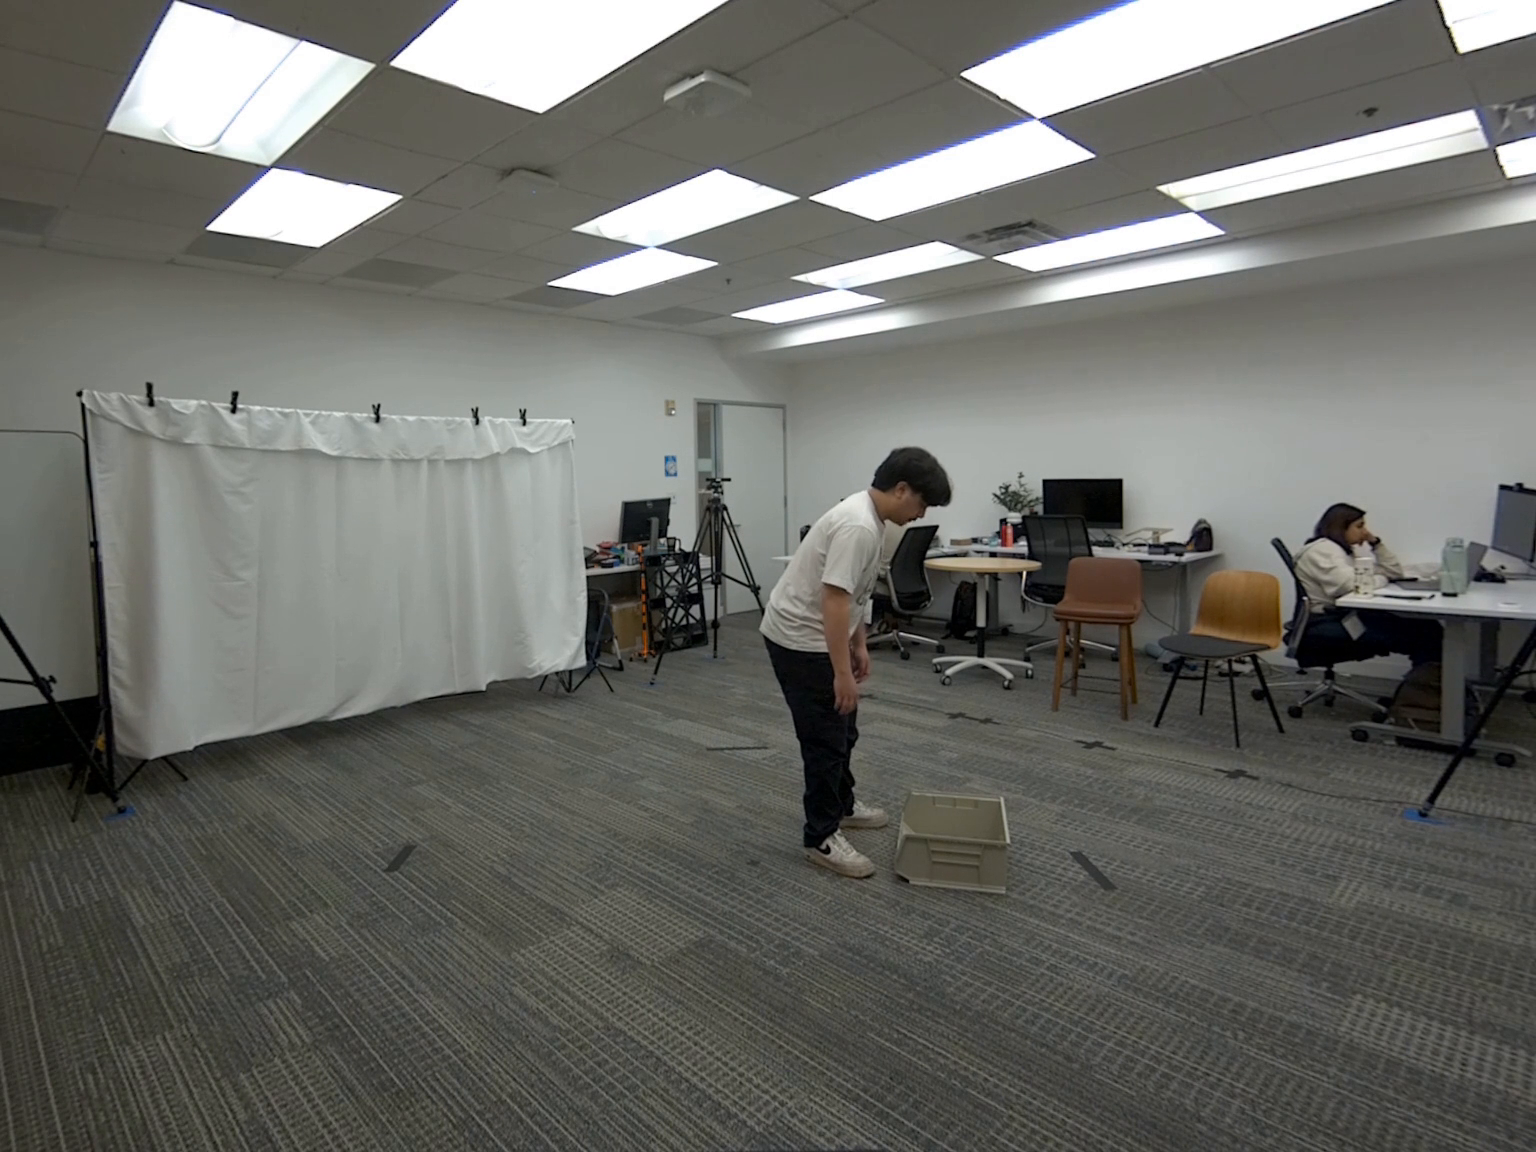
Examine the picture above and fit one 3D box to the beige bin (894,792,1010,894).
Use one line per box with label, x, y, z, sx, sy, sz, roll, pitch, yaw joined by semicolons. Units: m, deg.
beige bin;0.658;0.942;3.075;0.383;0.188;0.418;1;5;13
